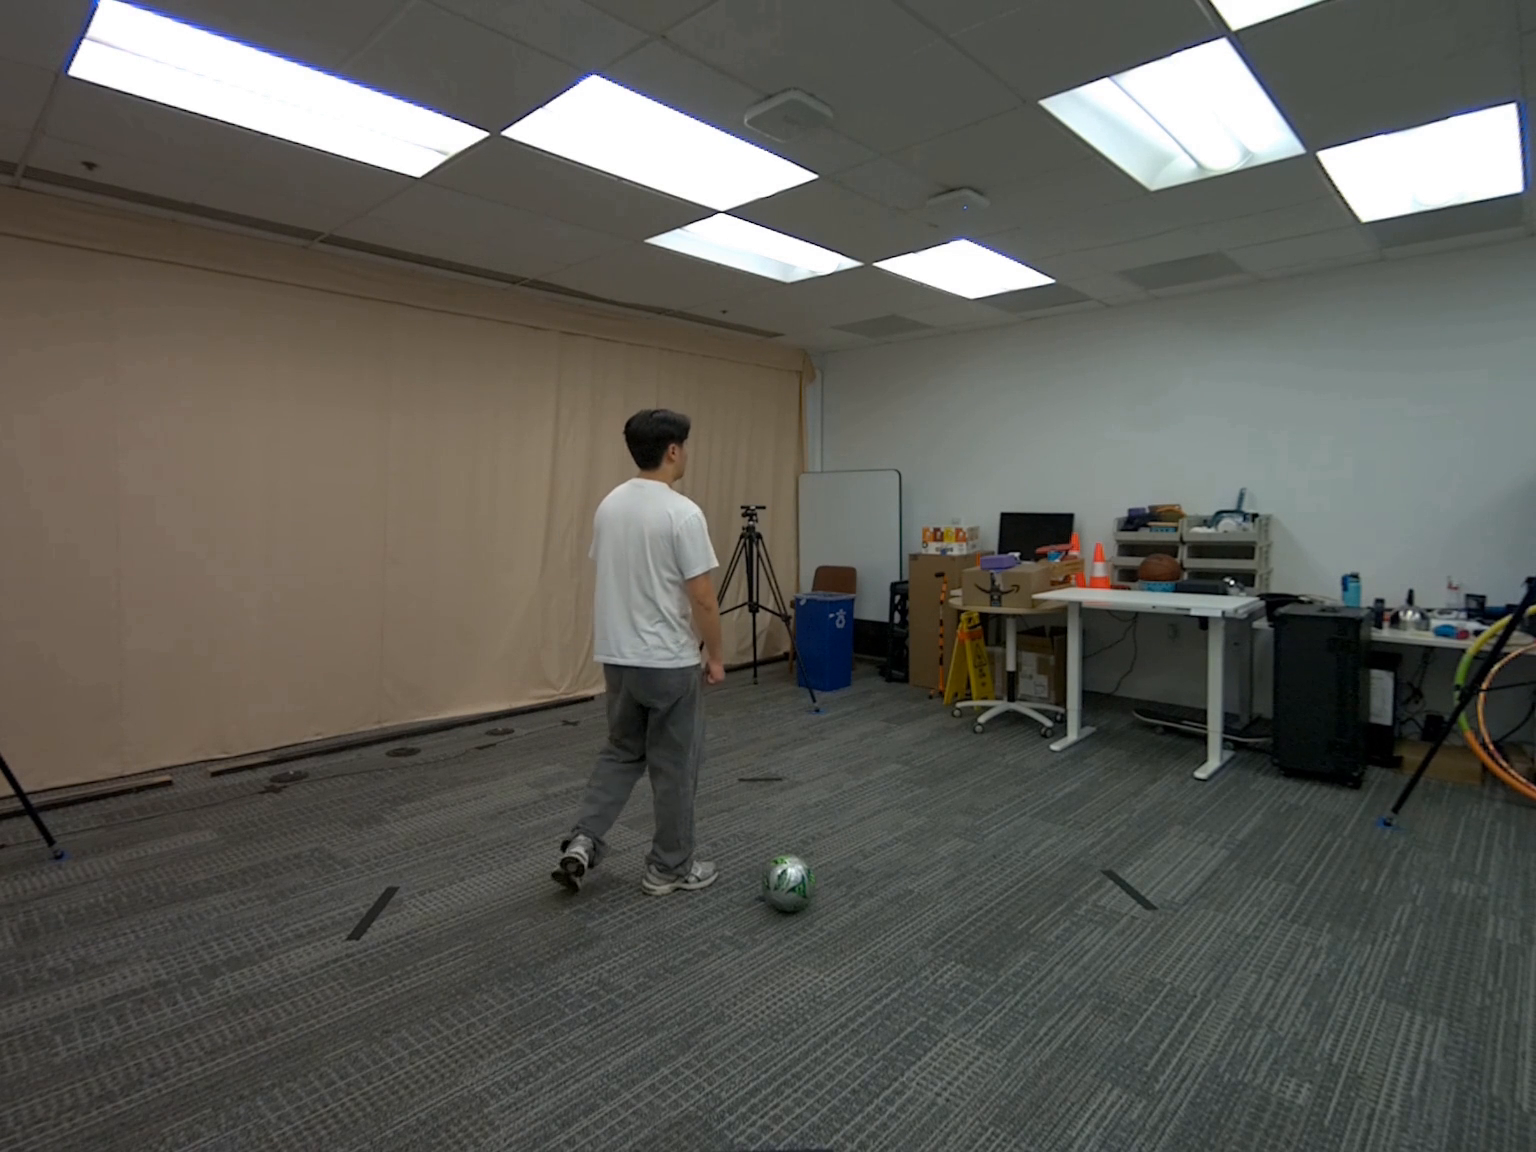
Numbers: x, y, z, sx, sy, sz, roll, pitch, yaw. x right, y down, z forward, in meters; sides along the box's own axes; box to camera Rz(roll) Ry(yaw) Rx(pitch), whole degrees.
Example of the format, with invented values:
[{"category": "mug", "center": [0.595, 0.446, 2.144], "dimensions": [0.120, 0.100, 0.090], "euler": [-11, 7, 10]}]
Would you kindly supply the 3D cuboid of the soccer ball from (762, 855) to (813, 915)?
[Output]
[{"category": "soccer ball", "center": [0.078, 1.058, 2.903], "dimensions": [0.187, 0.187, 0.188], "euler": [0, 4, -2]}]
